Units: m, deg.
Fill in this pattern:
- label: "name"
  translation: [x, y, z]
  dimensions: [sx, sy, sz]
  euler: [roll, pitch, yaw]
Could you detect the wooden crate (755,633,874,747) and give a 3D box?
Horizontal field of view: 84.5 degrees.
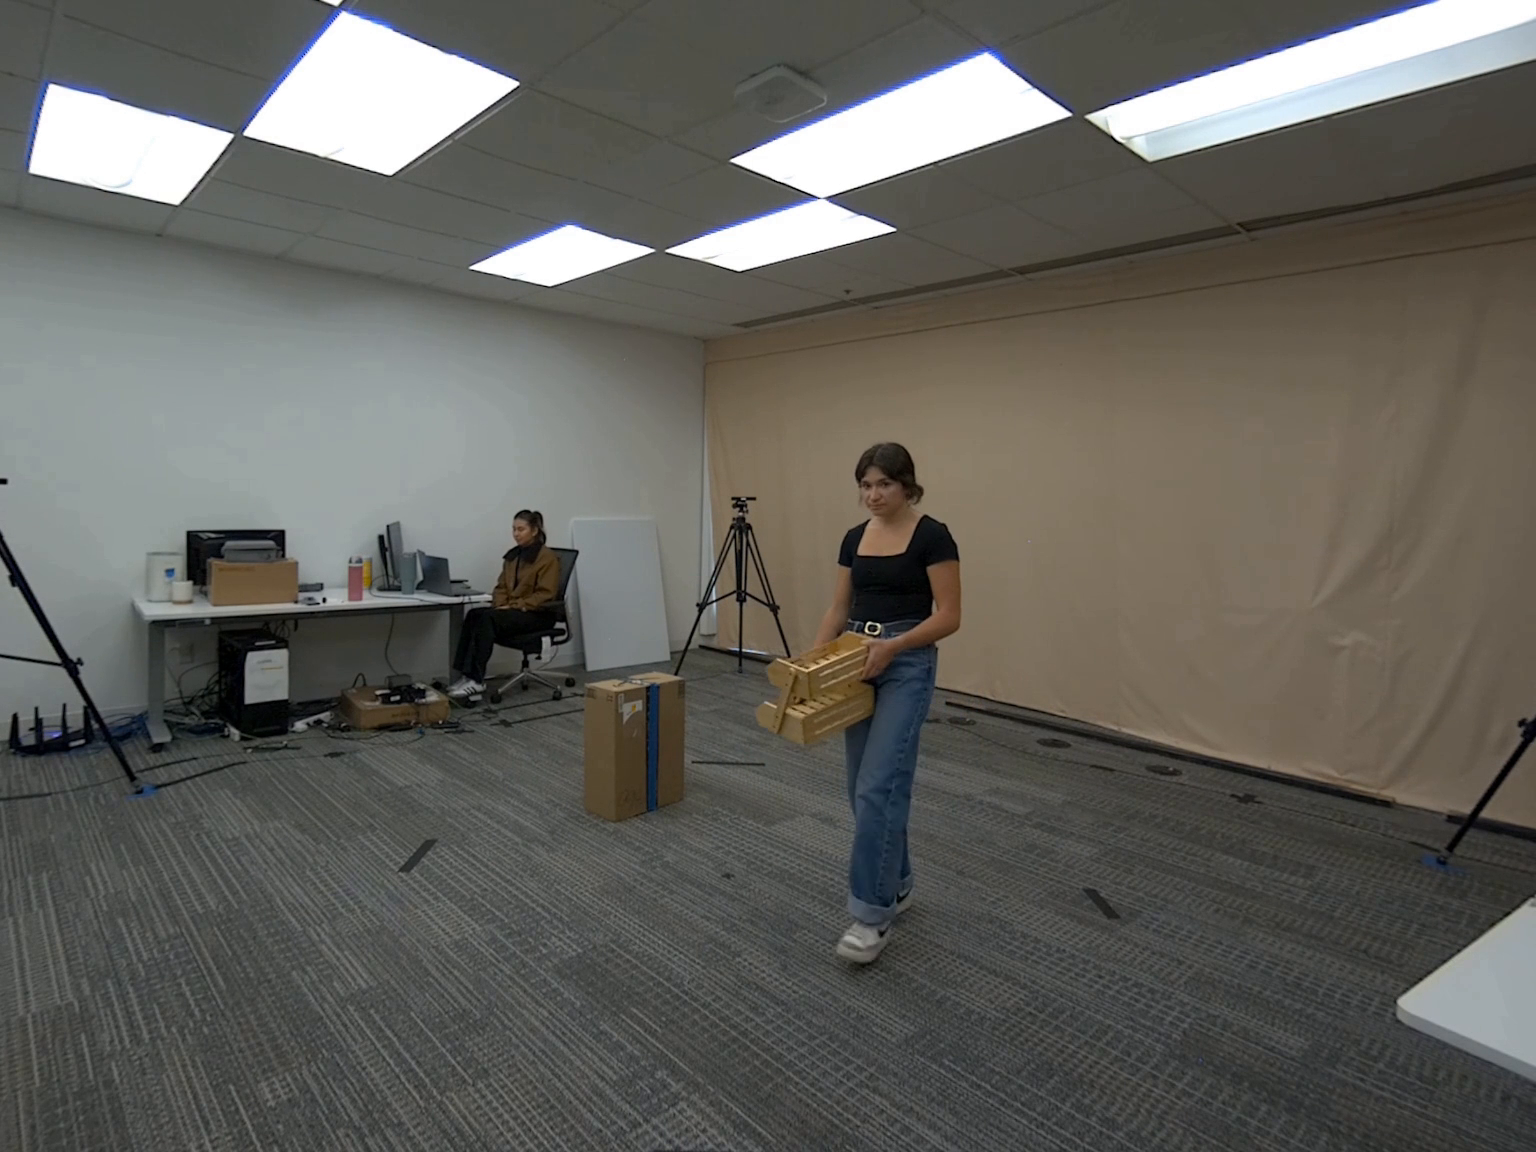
- label: "wooden crate"
  translation: [0.136, 0.331, 2.662]
  dimensions: [0.319, 0.270, 0.310]
  euler: [-17, 18, -34]
